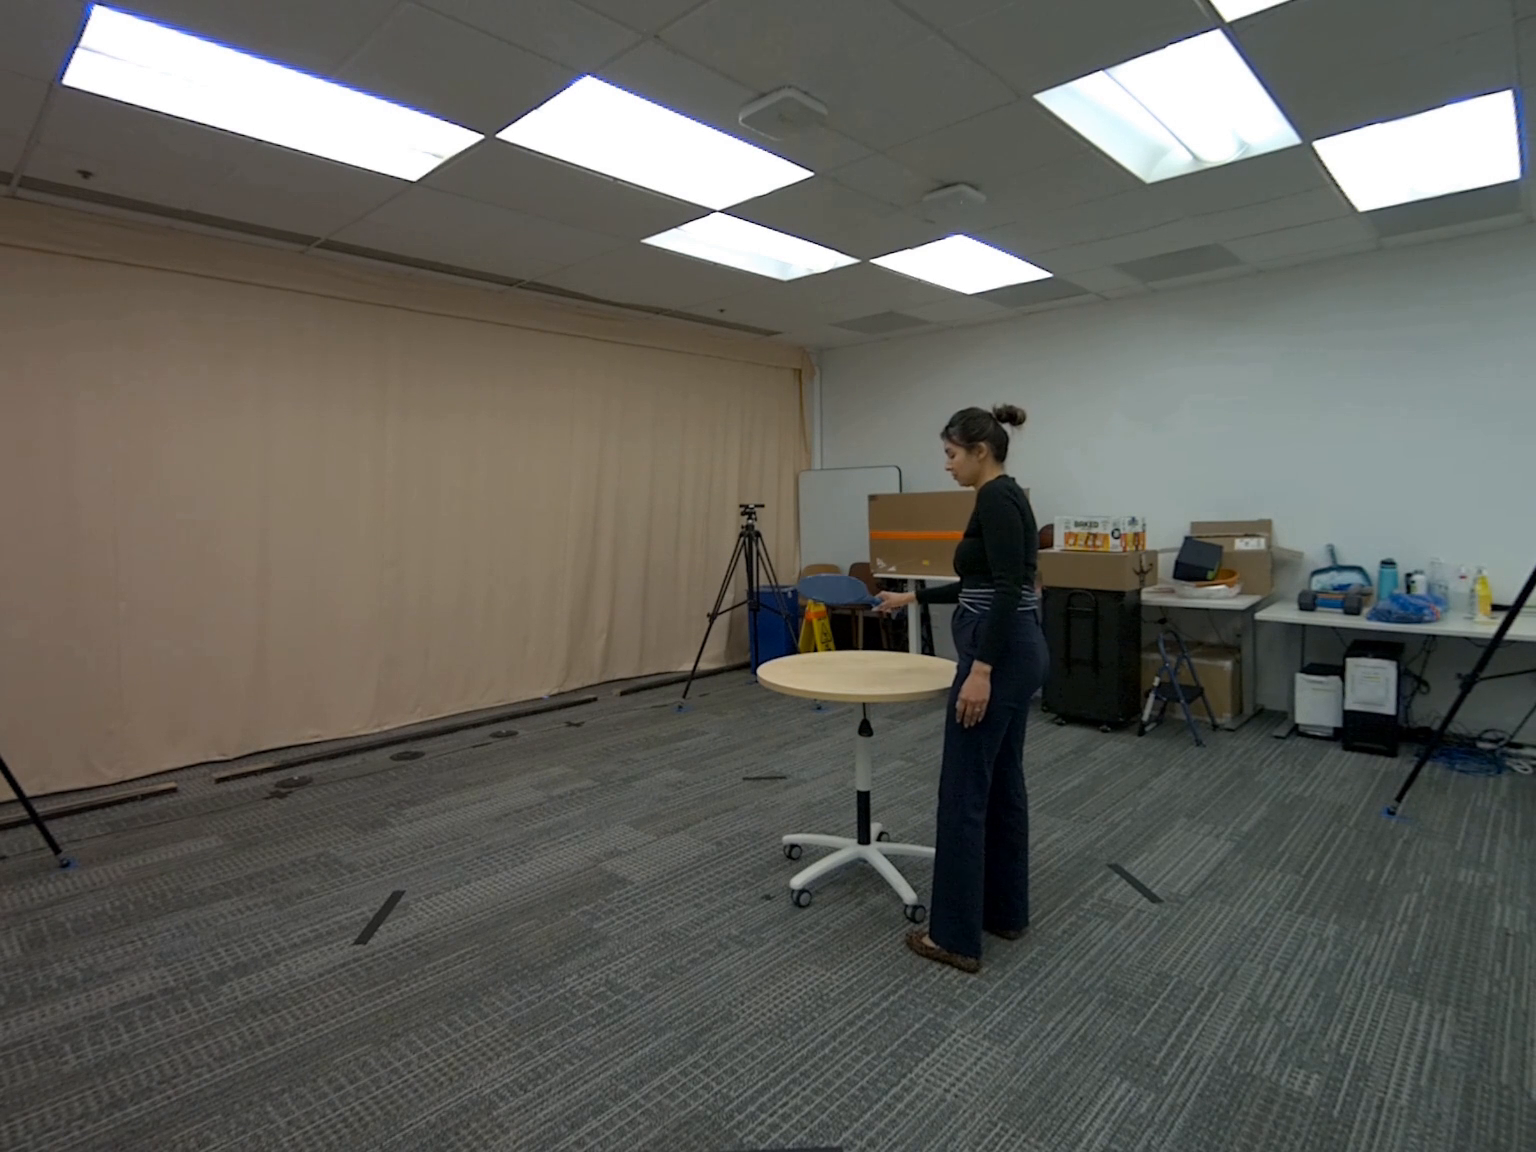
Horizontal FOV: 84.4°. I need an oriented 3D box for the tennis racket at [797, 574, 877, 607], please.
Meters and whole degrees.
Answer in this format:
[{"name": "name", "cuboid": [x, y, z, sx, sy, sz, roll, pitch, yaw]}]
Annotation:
[{"name": "tennis racket", "cuboid": [0.328, 0.079, 3.008, 0.427, 0.032, 0.214, 5, -17, -12]}]
